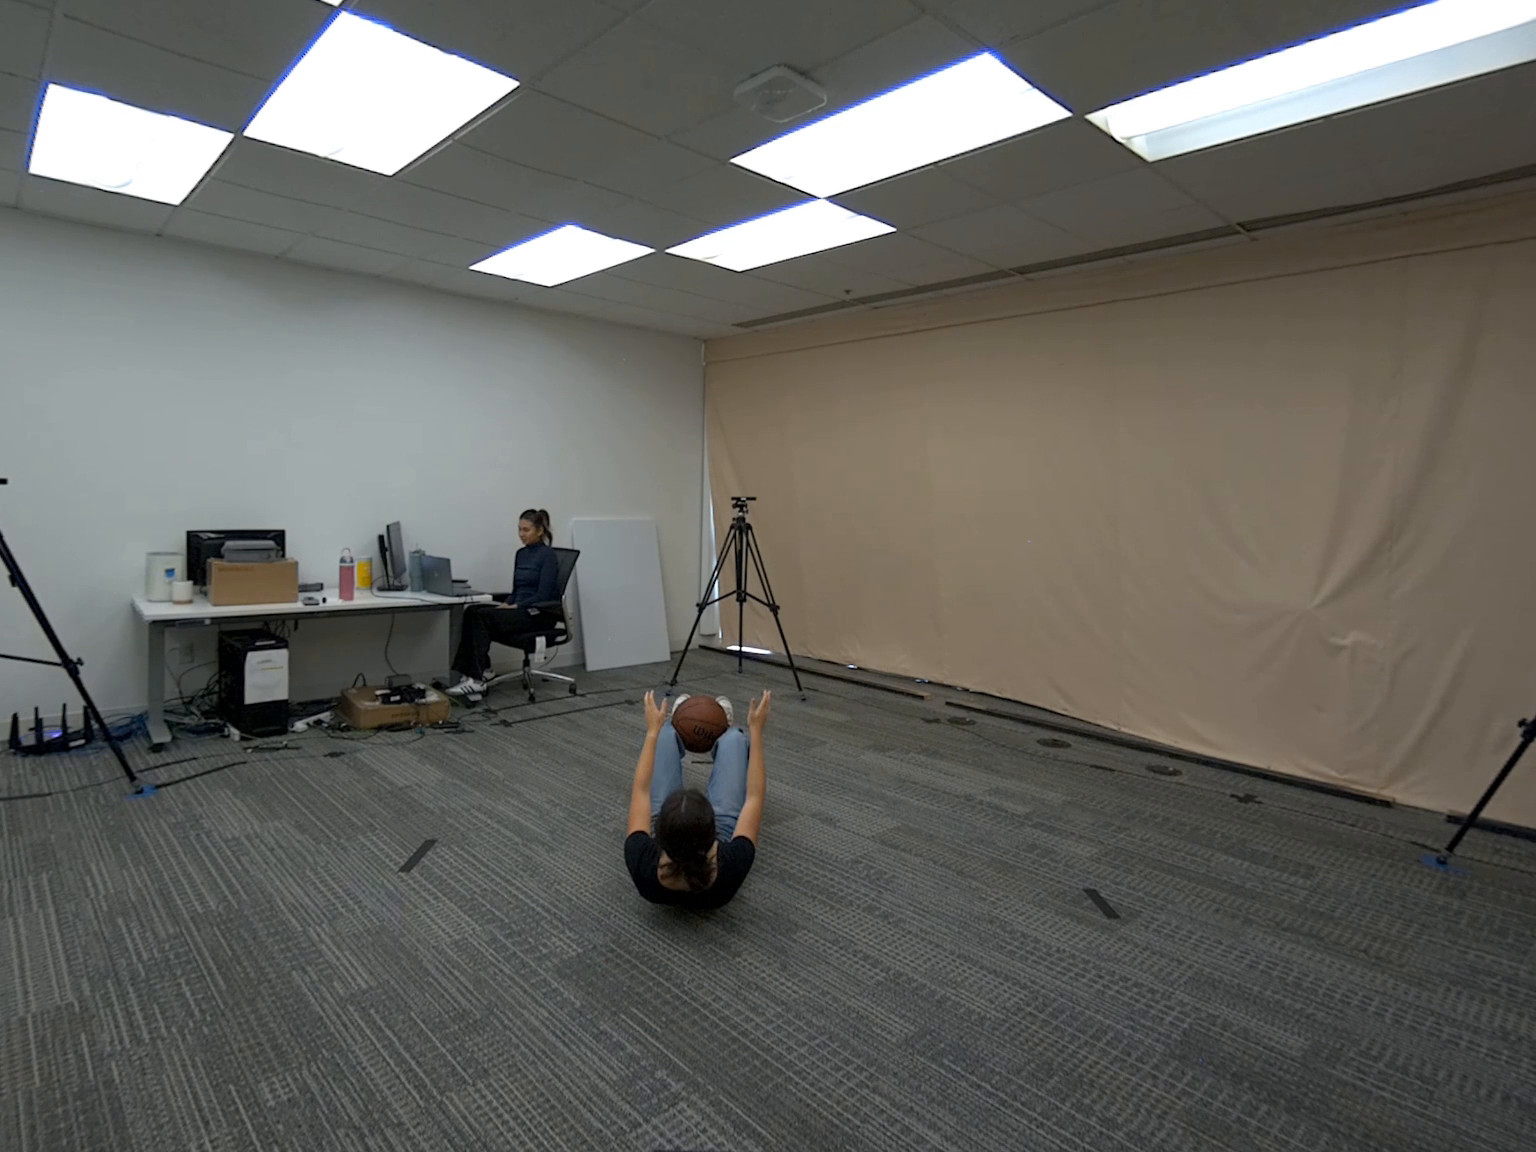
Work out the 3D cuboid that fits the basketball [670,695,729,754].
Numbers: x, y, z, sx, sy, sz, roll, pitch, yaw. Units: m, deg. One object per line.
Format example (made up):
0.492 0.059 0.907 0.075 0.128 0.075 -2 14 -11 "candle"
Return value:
-0.294 0.620 3.538 0.236 0.235 0.237 1 4 -1 "basketball"
